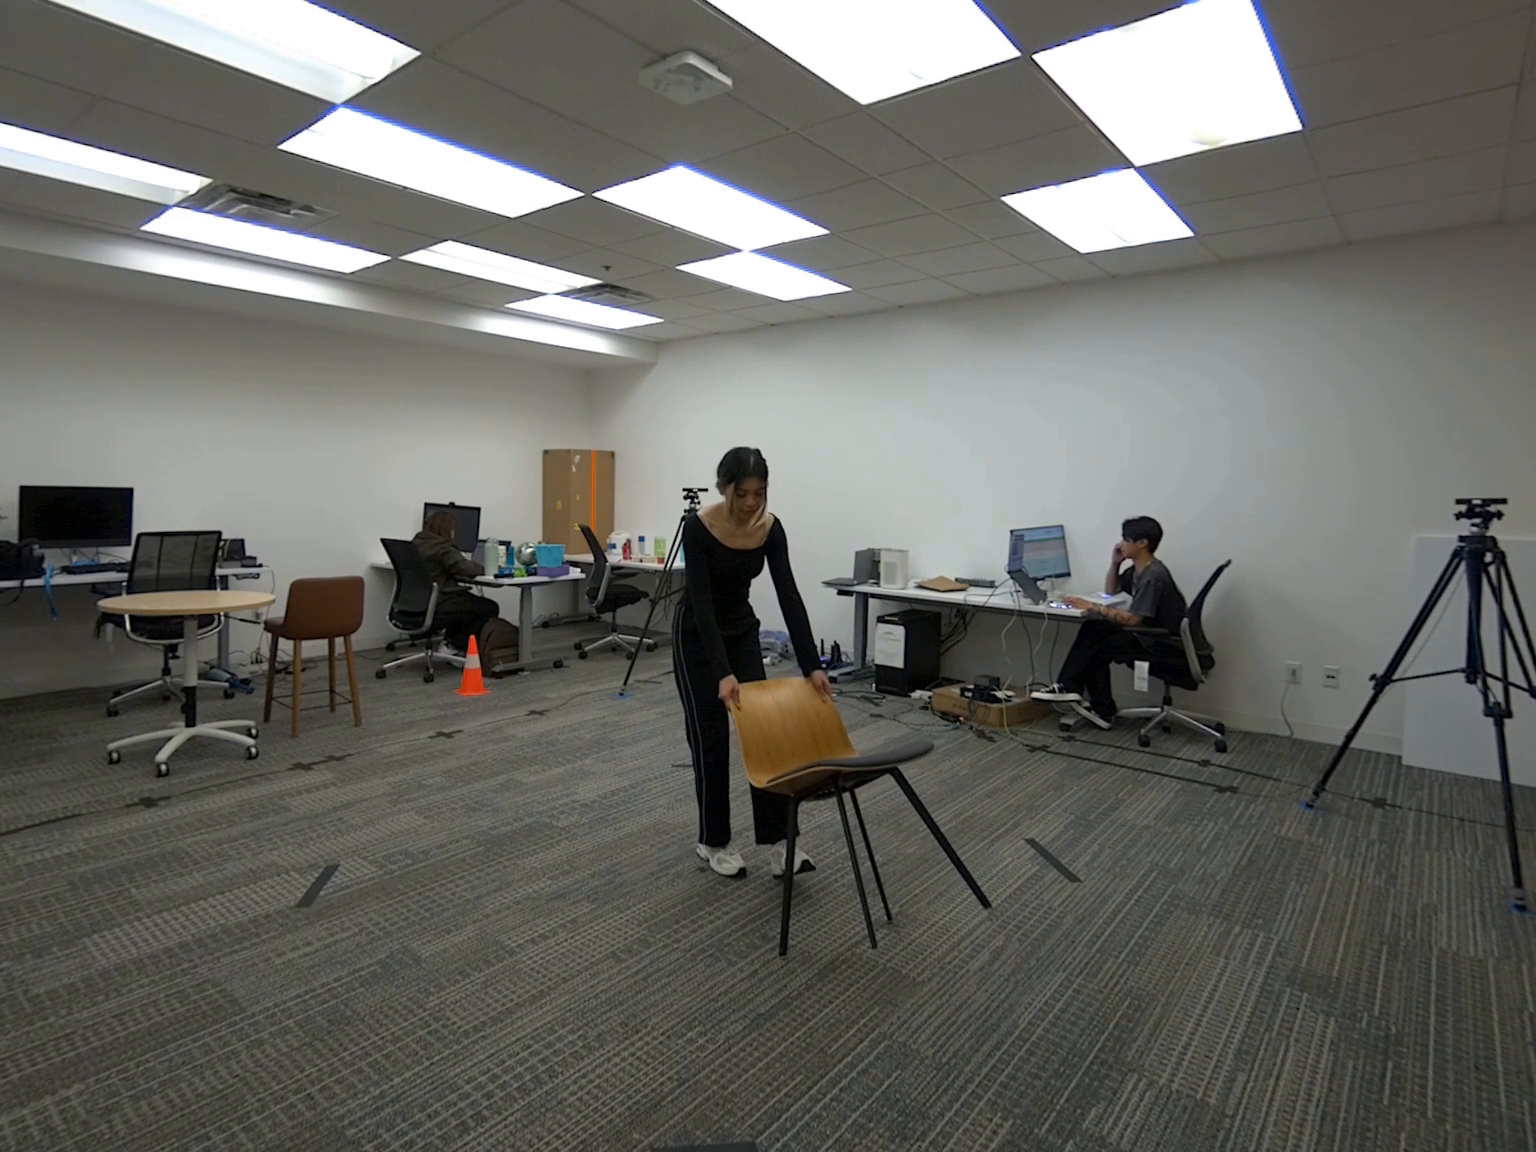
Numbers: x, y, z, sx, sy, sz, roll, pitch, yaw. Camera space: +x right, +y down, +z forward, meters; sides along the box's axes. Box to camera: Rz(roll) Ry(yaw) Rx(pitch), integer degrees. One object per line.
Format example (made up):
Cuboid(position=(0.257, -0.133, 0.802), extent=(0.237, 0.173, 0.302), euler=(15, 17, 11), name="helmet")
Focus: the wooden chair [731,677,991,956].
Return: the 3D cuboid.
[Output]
Cuboid(position=(0.227, 0.640, 2.618), extent=(0.464, 0.902, 0.524), euler=(-1, -28, -34), name="wooden chair")
